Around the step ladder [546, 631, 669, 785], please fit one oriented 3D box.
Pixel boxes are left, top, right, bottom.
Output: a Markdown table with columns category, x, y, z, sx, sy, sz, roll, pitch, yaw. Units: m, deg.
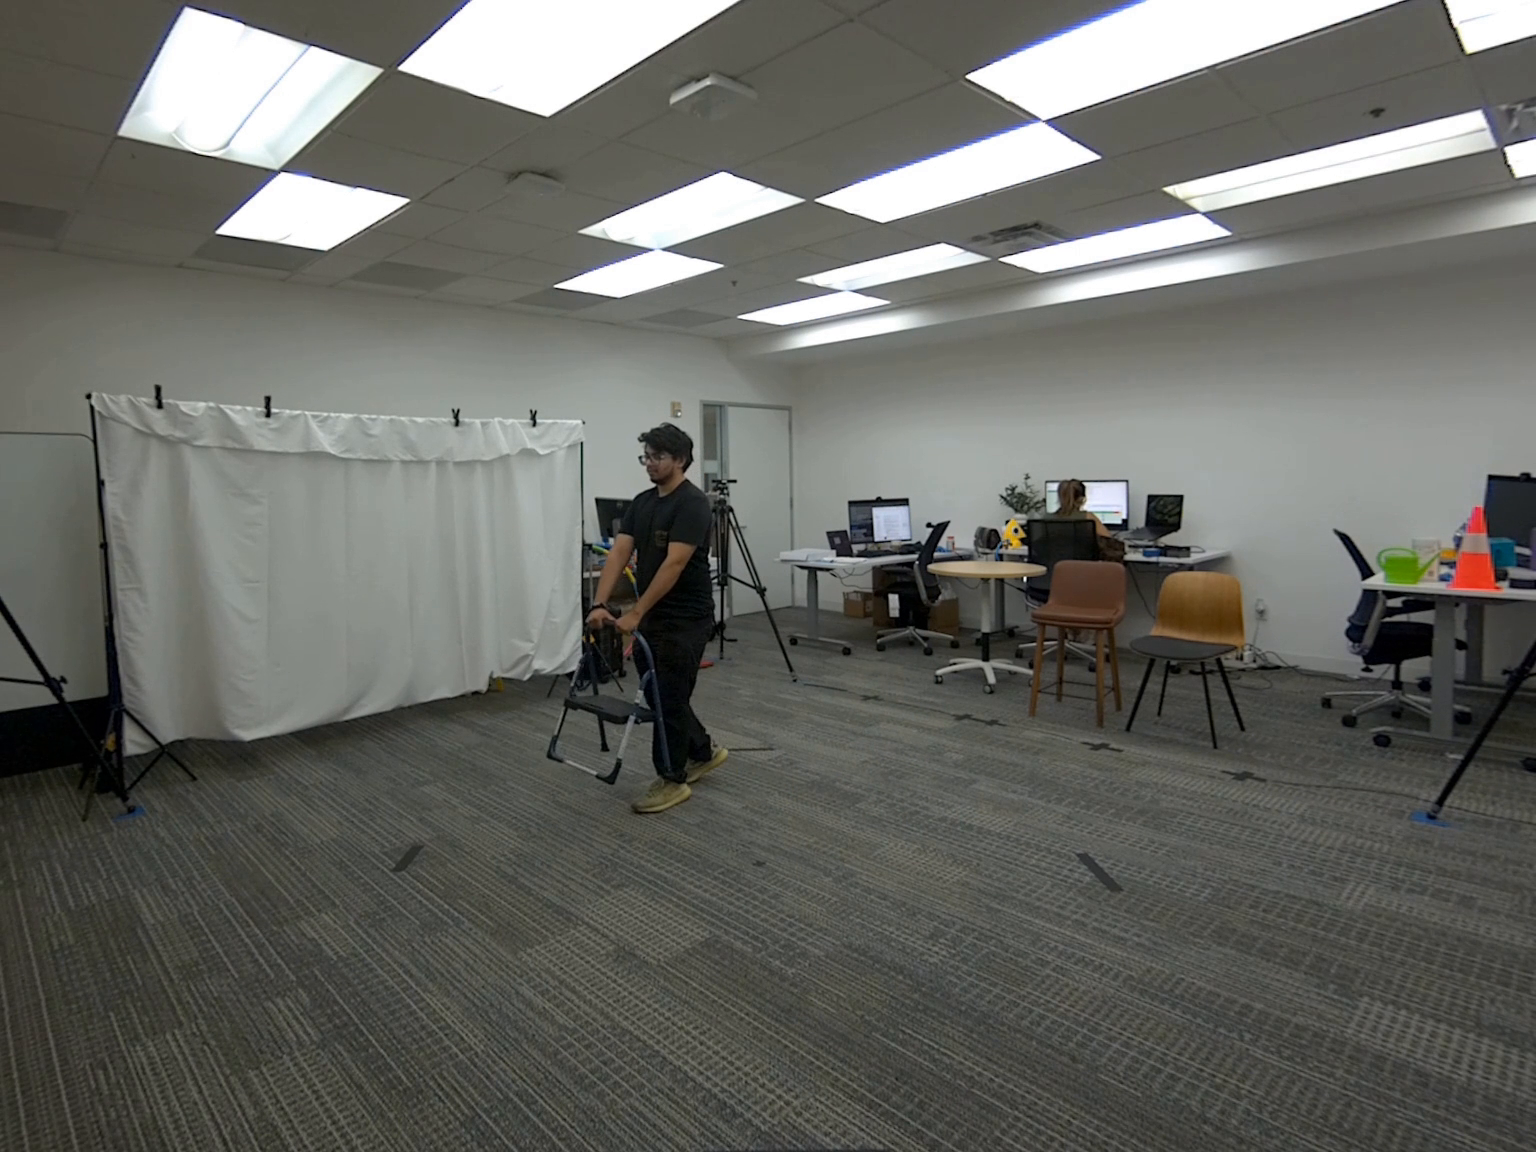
| category | x | y | z | sx | sy | sz | roll | pitch | yaw |
| --- | --- | --- | --- | --- | --- | --- | --- | --- | --- |
| step ladder | -0.630 | 0.497 | 3.553 | 0.444 | 0.607 | 0.338 | 6 | -2 | 39 |
